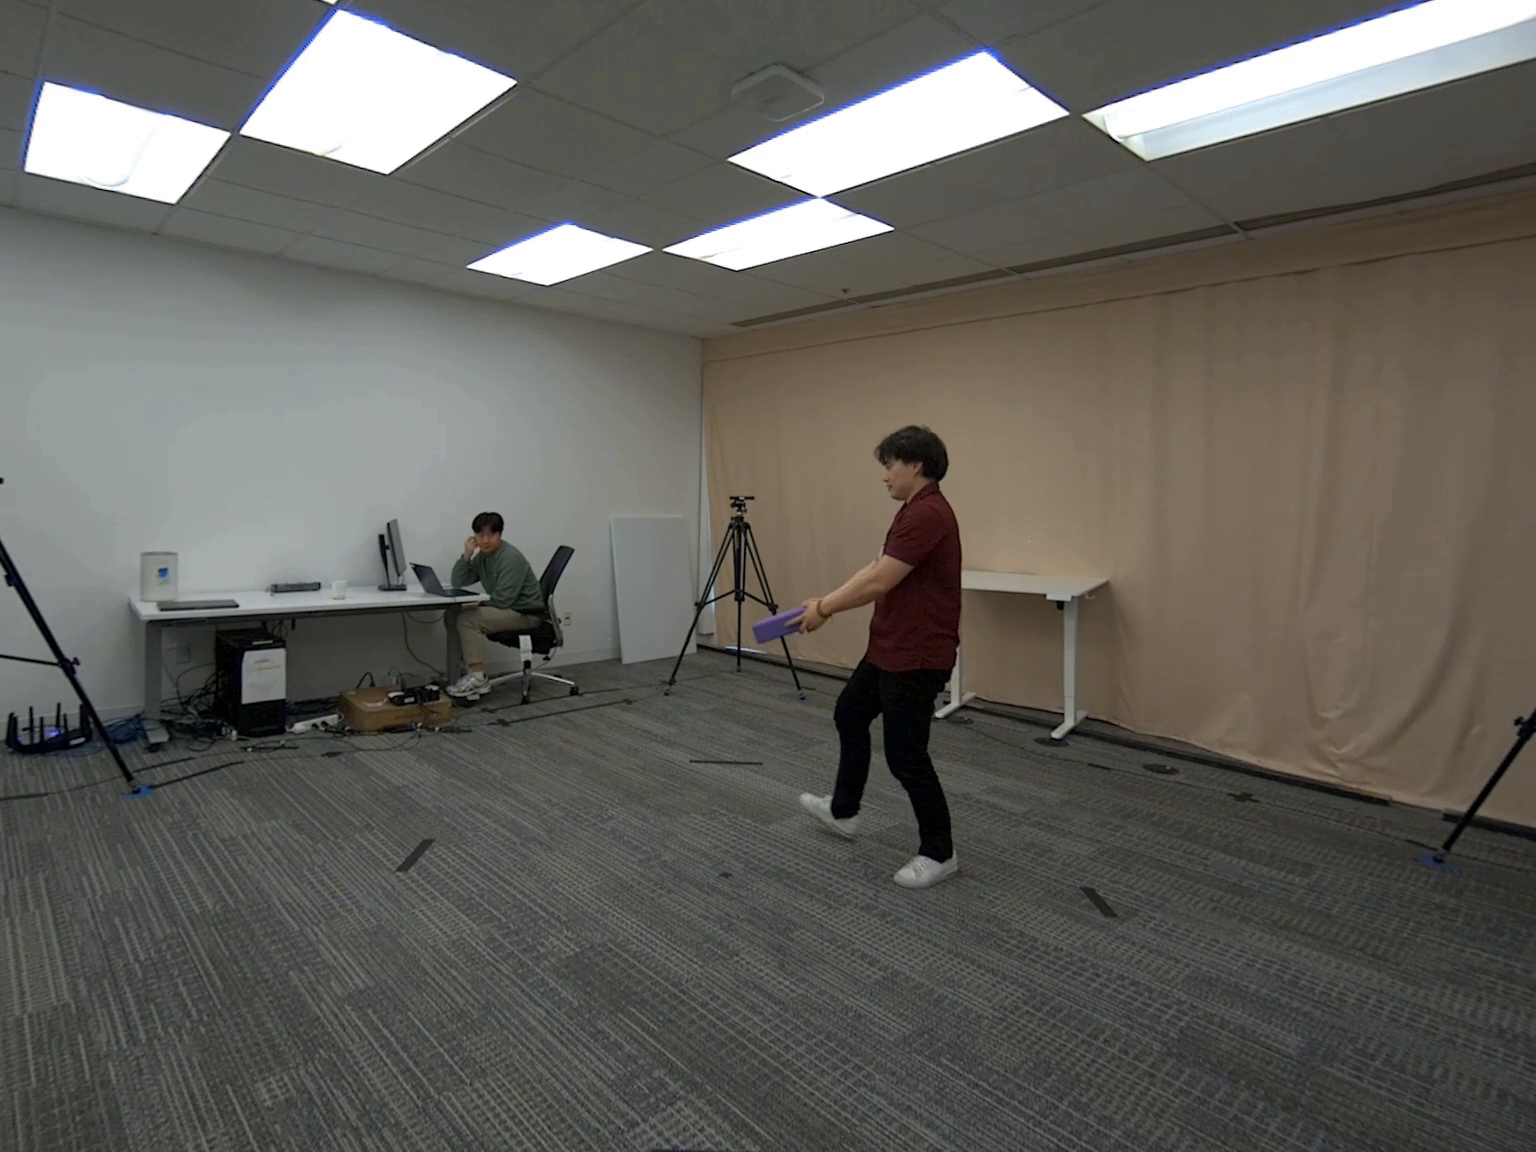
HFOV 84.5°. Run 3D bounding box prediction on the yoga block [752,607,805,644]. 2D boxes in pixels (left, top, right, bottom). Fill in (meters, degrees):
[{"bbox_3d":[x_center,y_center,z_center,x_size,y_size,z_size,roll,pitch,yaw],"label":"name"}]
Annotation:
[{"bbox_3d":[0.094,0.185,3.204,0.230,0.076,0.148,-20,-1,7],"label":"yoga block"}]
